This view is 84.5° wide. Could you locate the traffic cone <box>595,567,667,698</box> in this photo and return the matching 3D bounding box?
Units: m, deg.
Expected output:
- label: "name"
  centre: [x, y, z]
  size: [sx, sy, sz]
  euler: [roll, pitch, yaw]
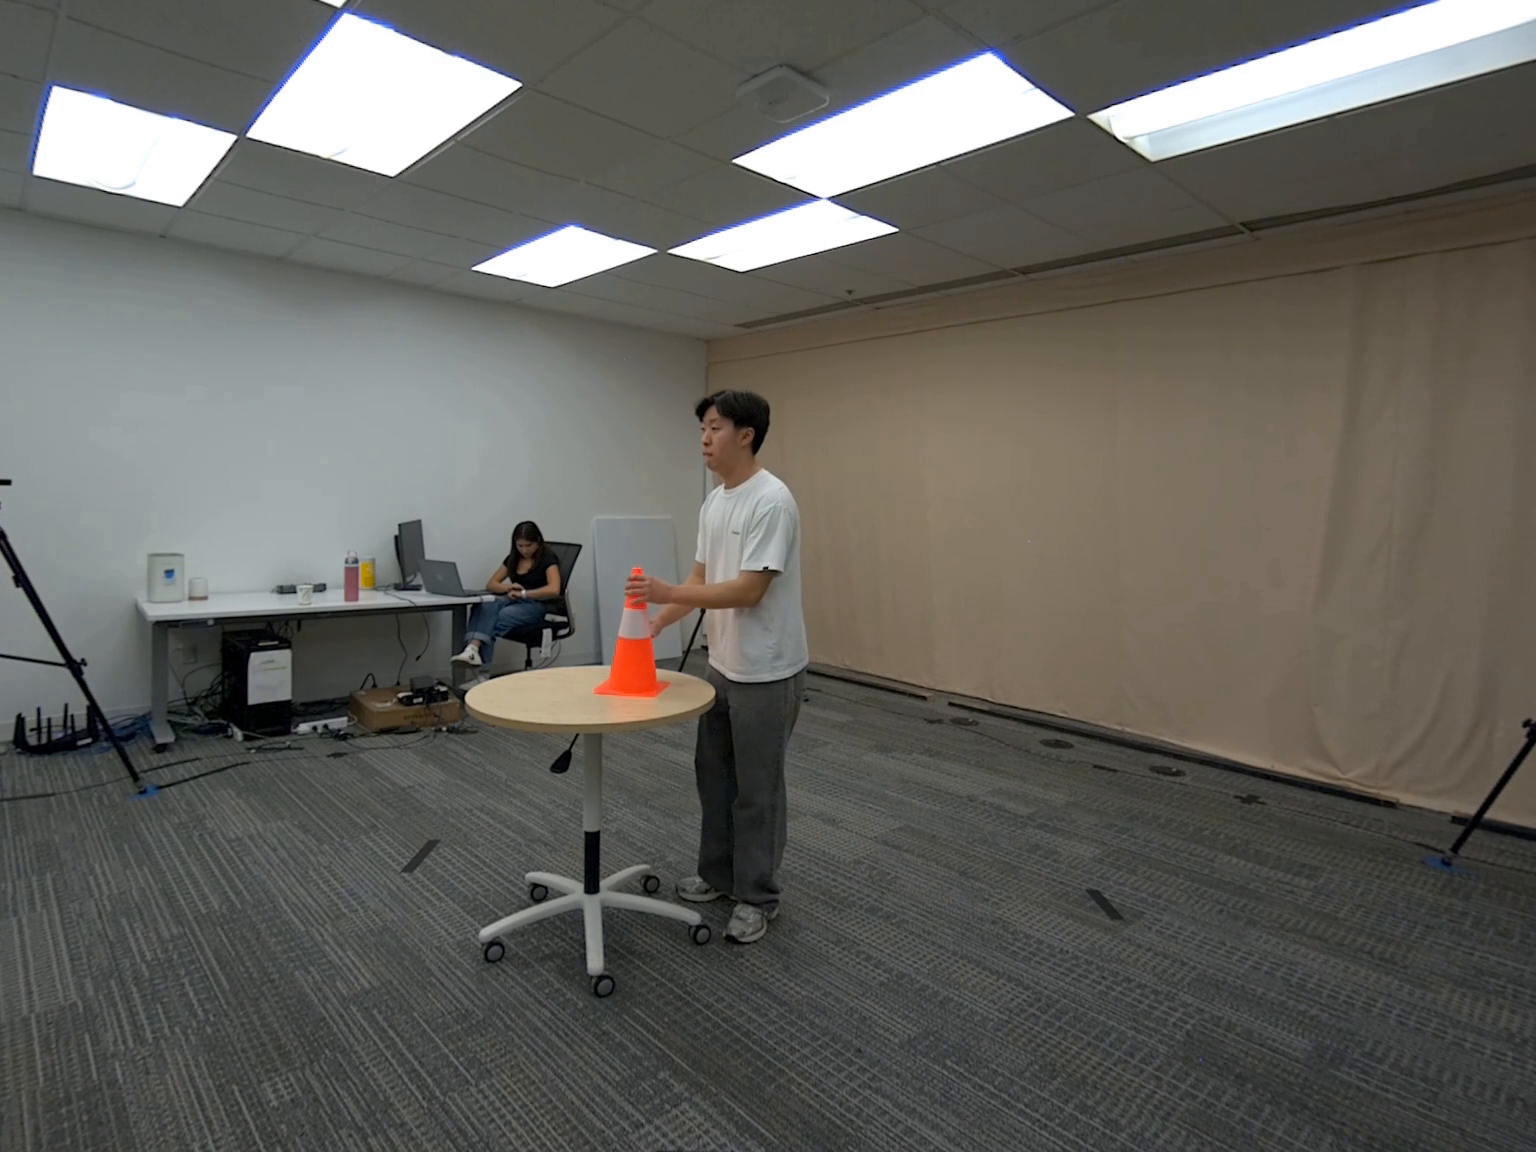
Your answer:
- label: "traffic cone"
  centre: [-0.418, 0.163, 2.654]
  size: [0.205, 0.383, 0.203]
  euler: [4, 4, 11]
